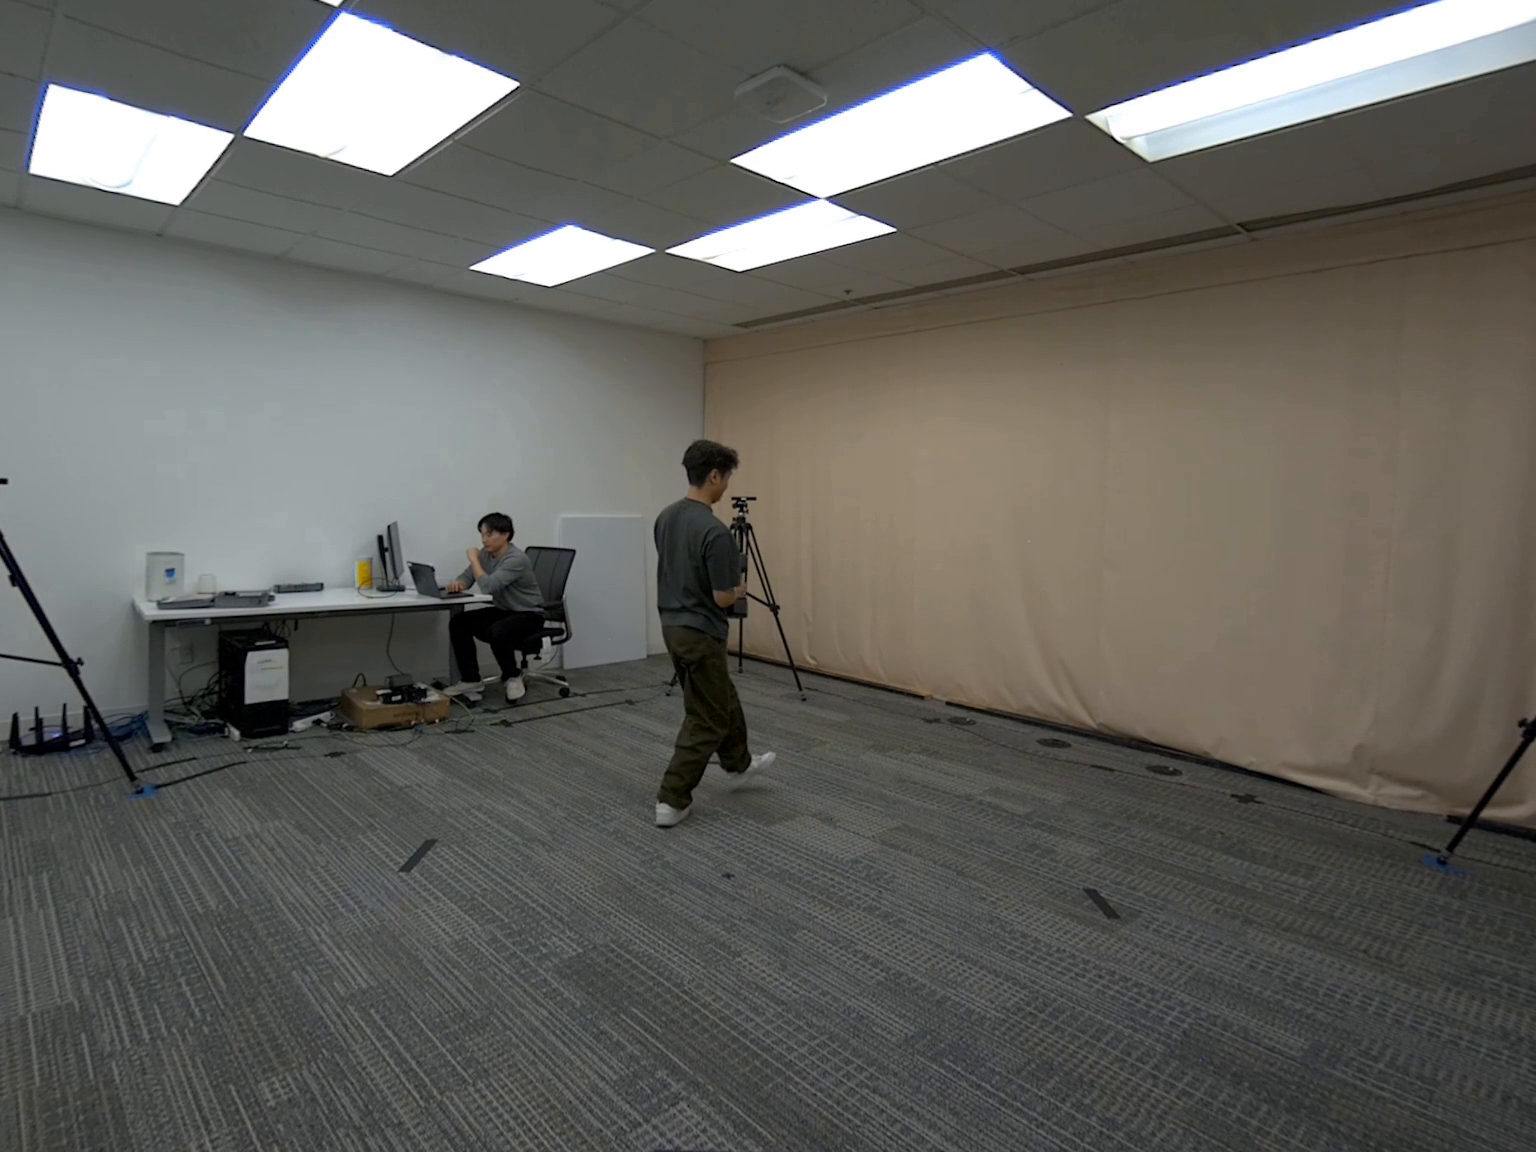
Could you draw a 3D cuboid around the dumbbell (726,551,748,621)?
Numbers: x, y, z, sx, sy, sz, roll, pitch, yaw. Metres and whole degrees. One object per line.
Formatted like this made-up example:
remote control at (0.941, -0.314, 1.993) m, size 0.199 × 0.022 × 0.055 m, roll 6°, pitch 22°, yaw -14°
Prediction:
dumbbell at (-0.161, 0.048, 3.842) m, size 0.109 × 0.297 × 0.121 m, roll -5°, pitch -16°, yaw 7°
